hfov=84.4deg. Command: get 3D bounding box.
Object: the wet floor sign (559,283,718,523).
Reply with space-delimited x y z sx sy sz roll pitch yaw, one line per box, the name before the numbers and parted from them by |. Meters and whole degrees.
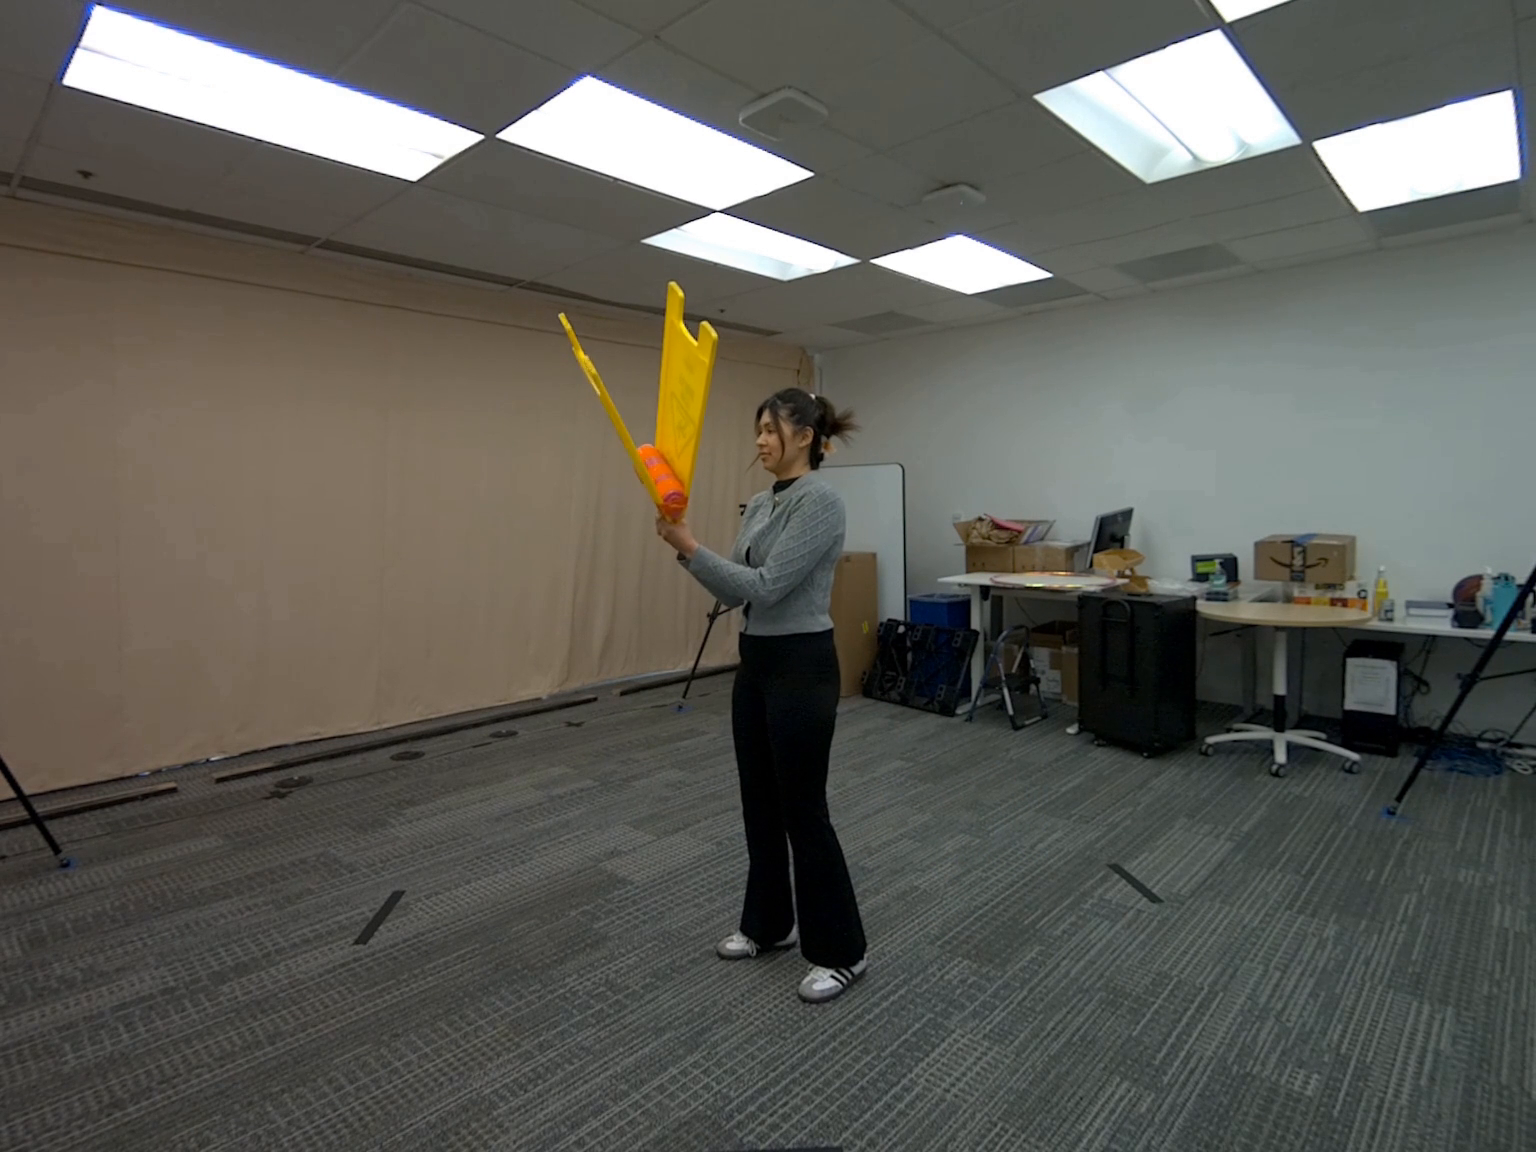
wet floor sign | -0.306 -0.378 2.198 0.286 0.633 0.291 -18 49 -15
